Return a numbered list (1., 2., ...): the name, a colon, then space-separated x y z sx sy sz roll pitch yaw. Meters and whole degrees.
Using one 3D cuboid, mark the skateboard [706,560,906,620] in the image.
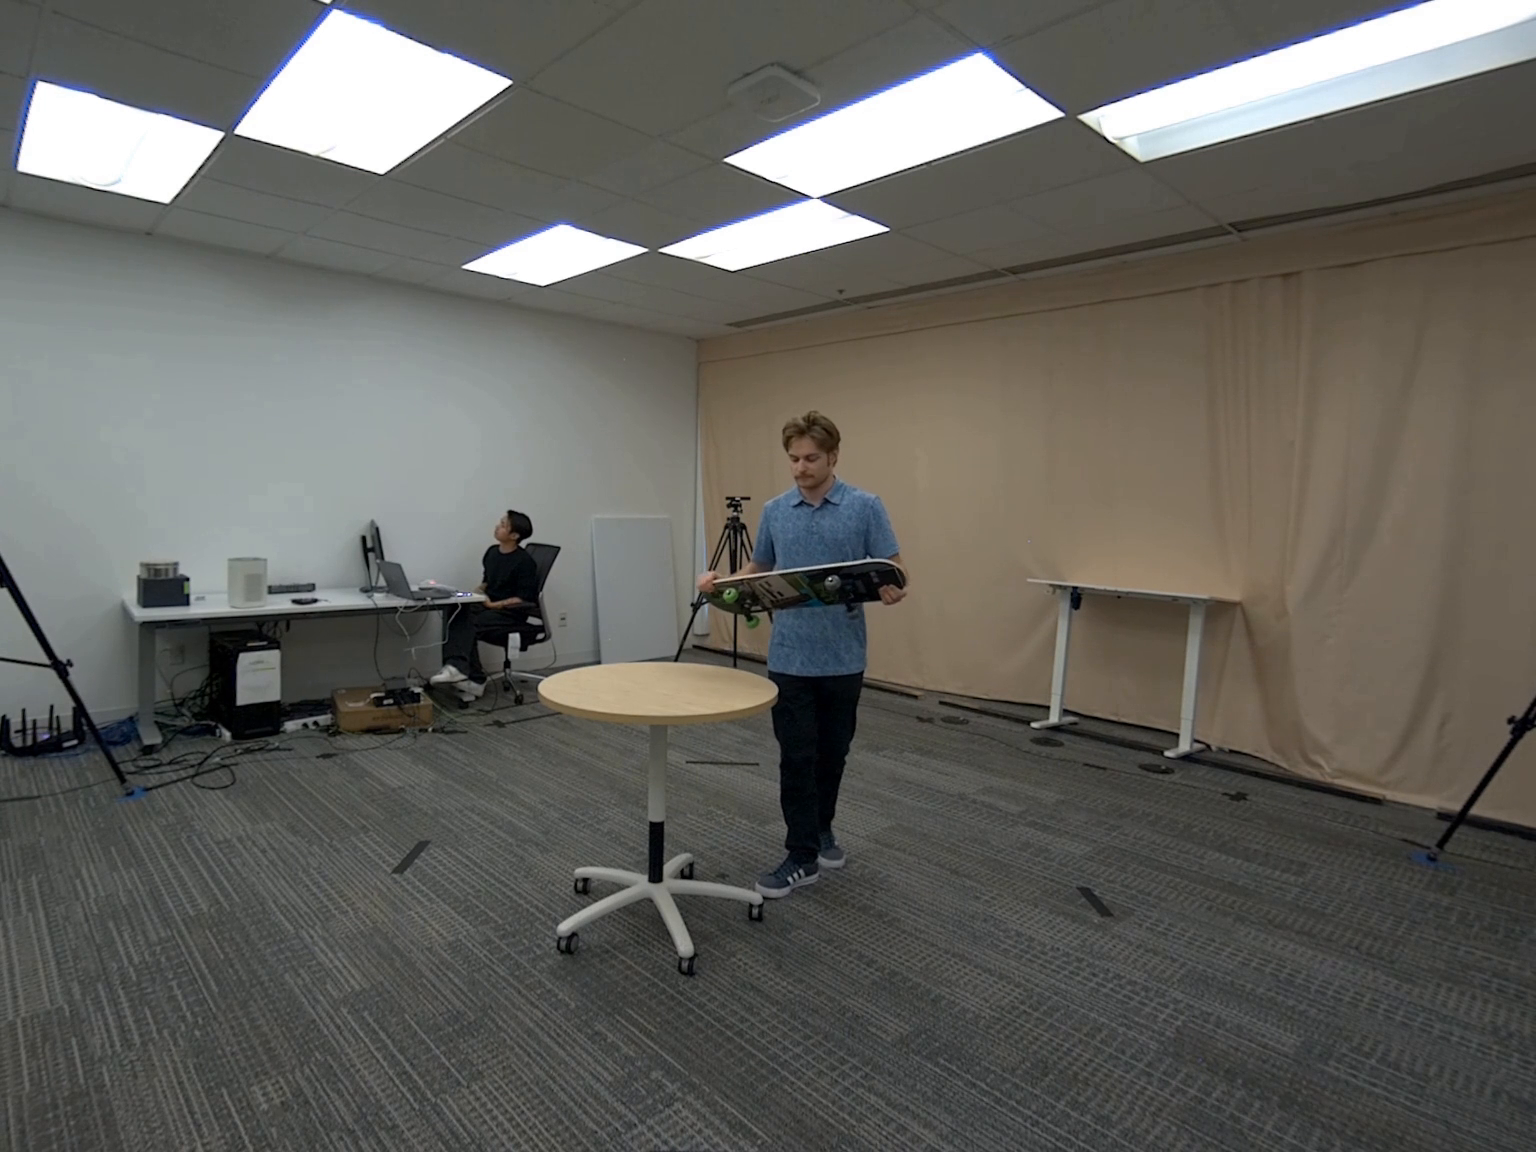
1. skateboard: 0.069 0.068 2.842 0.800 0.111 0.187 -7 -44 34
